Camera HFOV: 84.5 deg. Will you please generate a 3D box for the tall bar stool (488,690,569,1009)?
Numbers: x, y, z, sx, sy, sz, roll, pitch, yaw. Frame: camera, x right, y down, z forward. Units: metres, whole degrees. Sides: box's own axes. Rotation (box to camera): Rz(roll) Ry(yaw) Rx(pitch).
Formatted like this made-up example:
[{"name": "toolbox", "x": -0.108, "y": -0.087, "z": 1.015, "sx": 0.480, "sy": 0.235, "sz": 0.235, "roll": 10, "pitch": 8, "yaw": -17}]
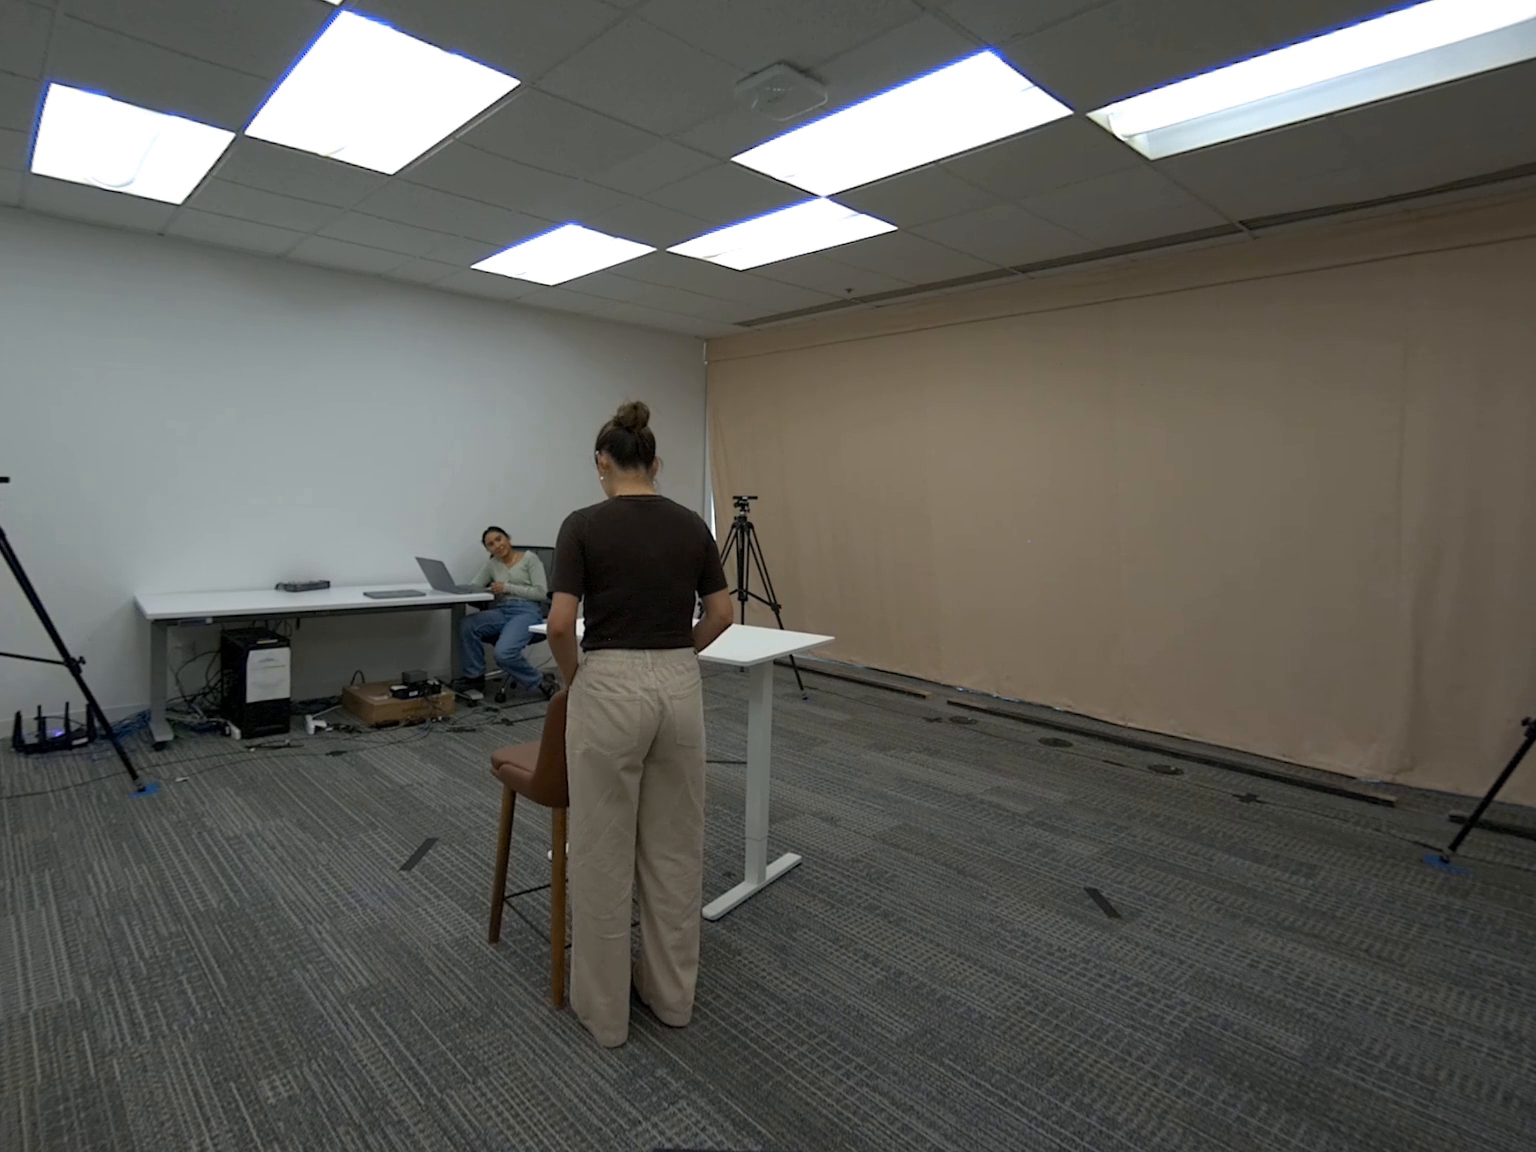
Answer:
[{"name": "tall bar stool", "x": -0.559, "y": 0.706, "z": 2.522, "sx": 0.446, "sy": 0.887, "sz": 0.479, "roll": -2, "pitch": 5, "yaw": -39}]
